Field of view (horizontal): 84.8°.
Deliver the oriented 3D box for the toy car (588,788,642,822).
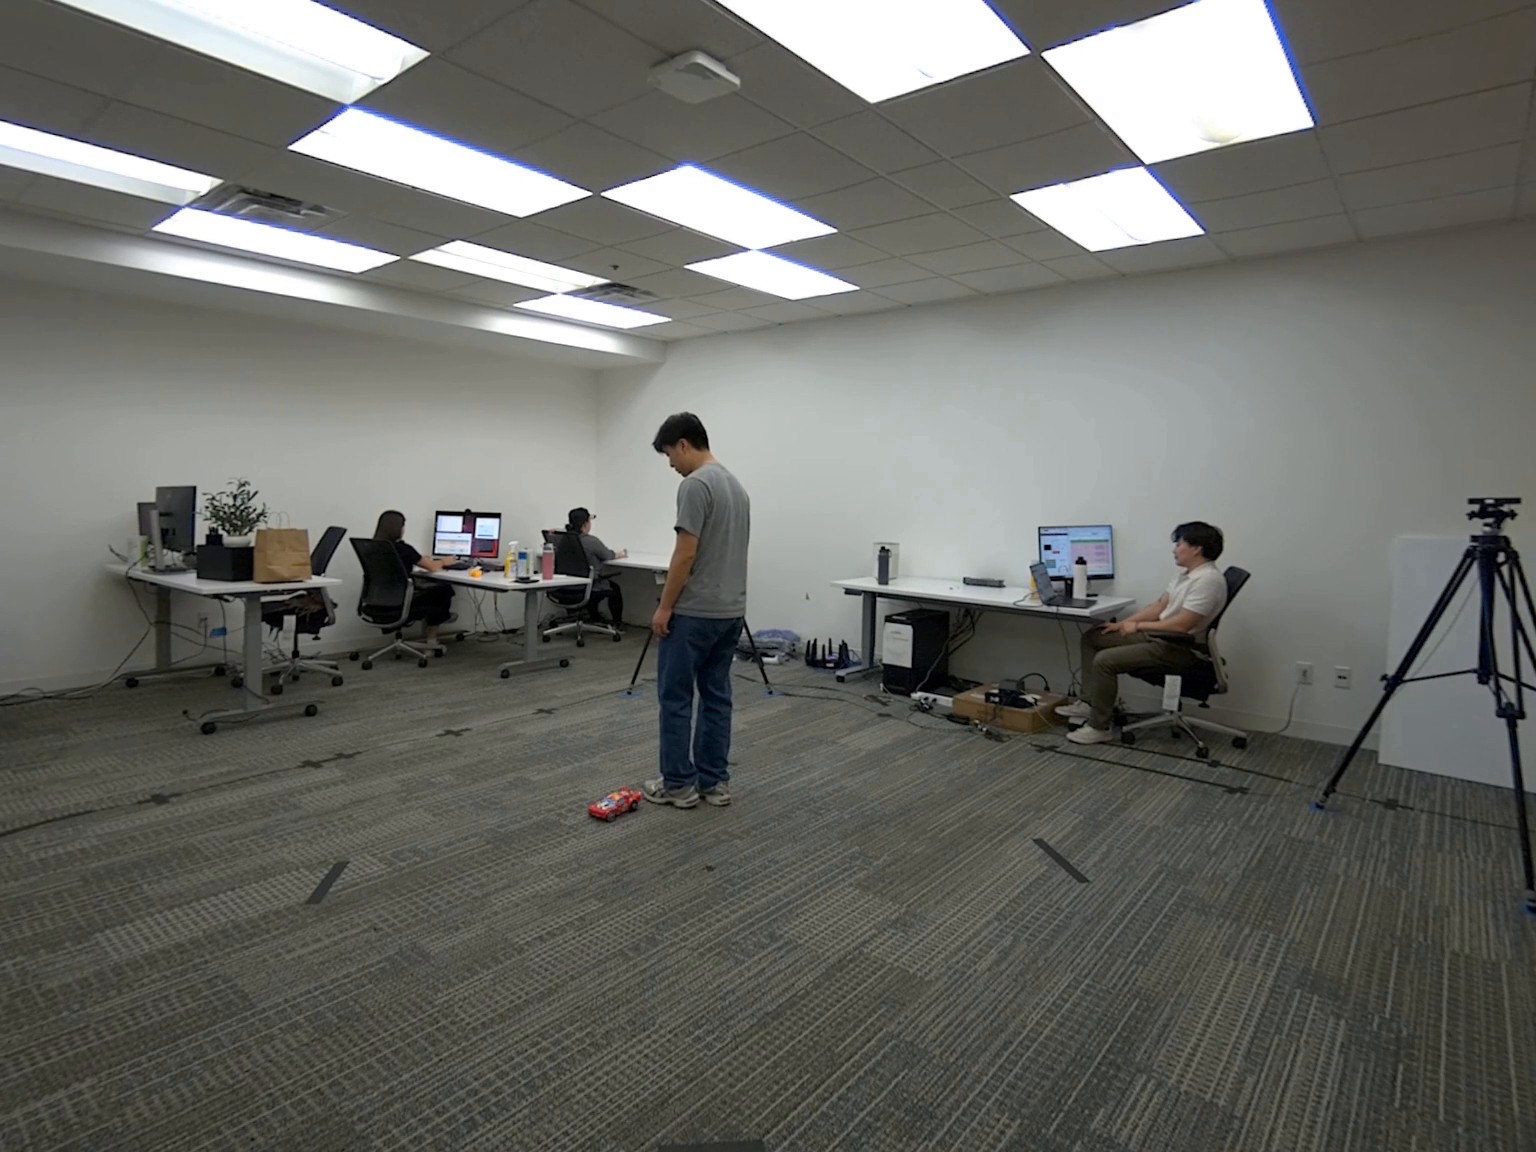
[{"bbox_3d":[-0.662,0.976,3.634,0.134,0.082,0.250,2,16,34],"label":"toy car"}]
